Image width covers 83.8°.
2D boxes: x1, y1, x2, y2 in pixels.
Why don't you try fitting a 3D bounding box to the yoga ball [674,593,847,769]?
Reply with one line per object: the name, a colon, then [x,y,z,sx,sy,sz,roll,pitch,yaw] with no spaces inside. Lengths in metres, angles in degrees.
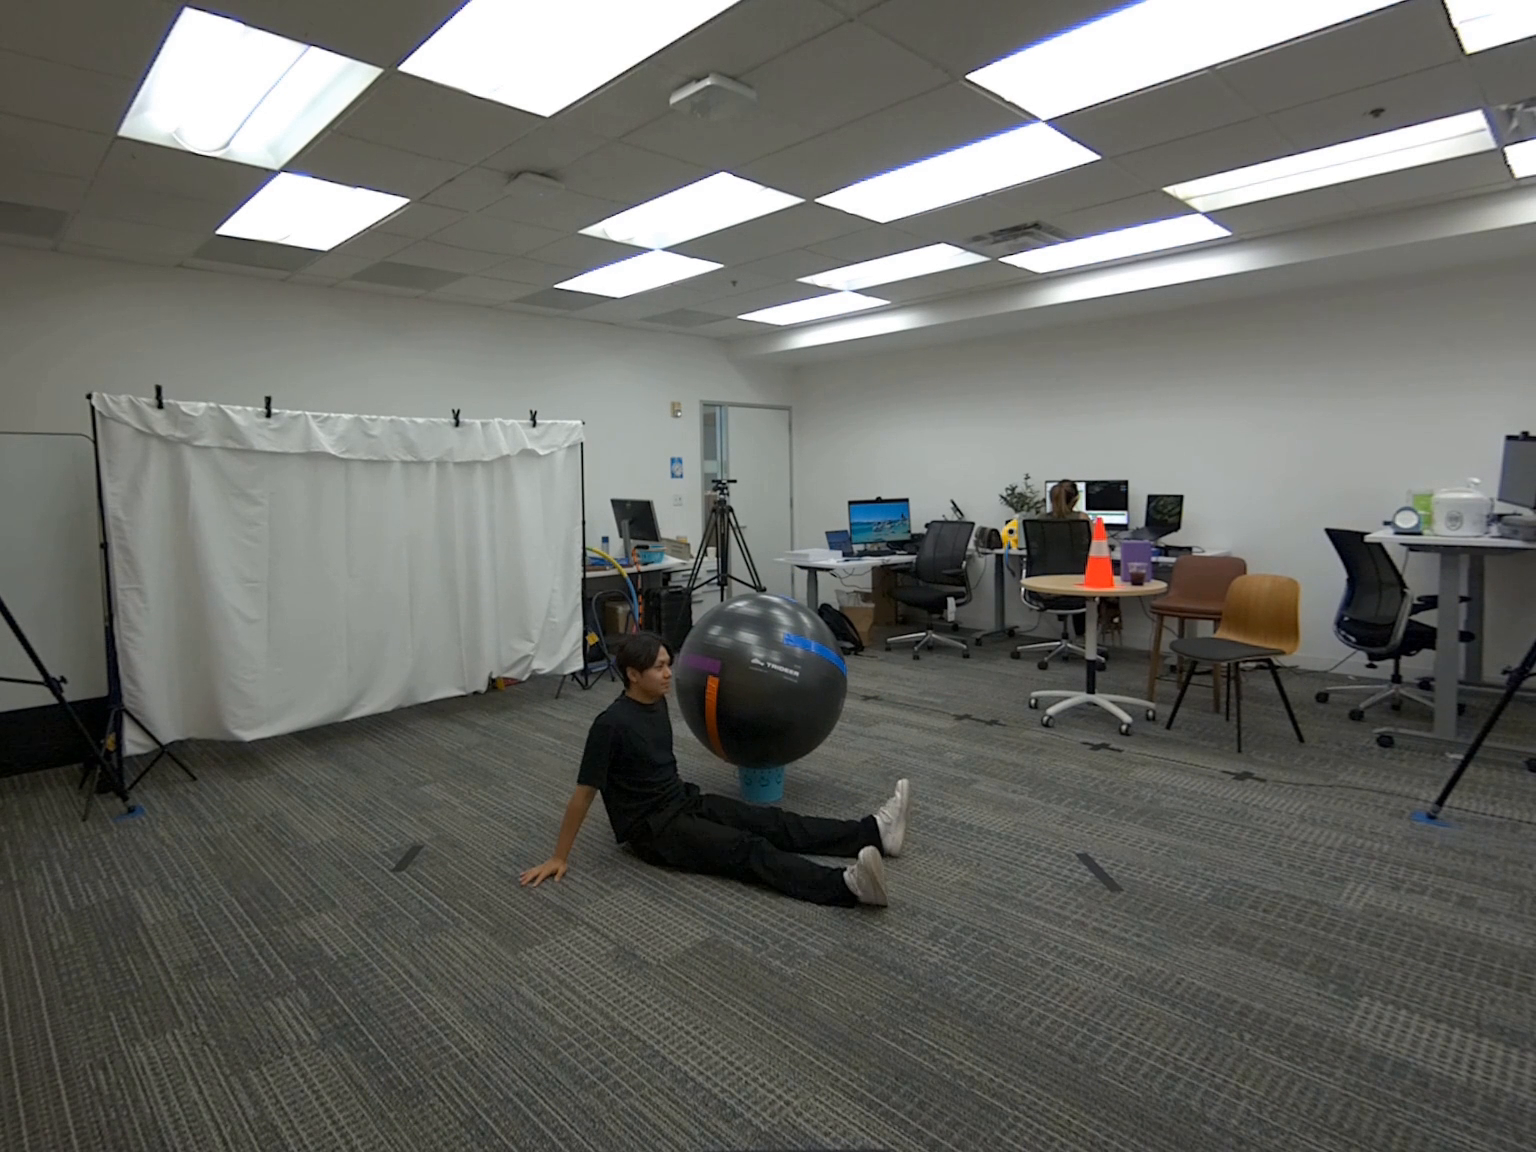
yoga ball: [-0.035,0.471,3.794,0.757,0.755,0.762,-1,5,-2]
